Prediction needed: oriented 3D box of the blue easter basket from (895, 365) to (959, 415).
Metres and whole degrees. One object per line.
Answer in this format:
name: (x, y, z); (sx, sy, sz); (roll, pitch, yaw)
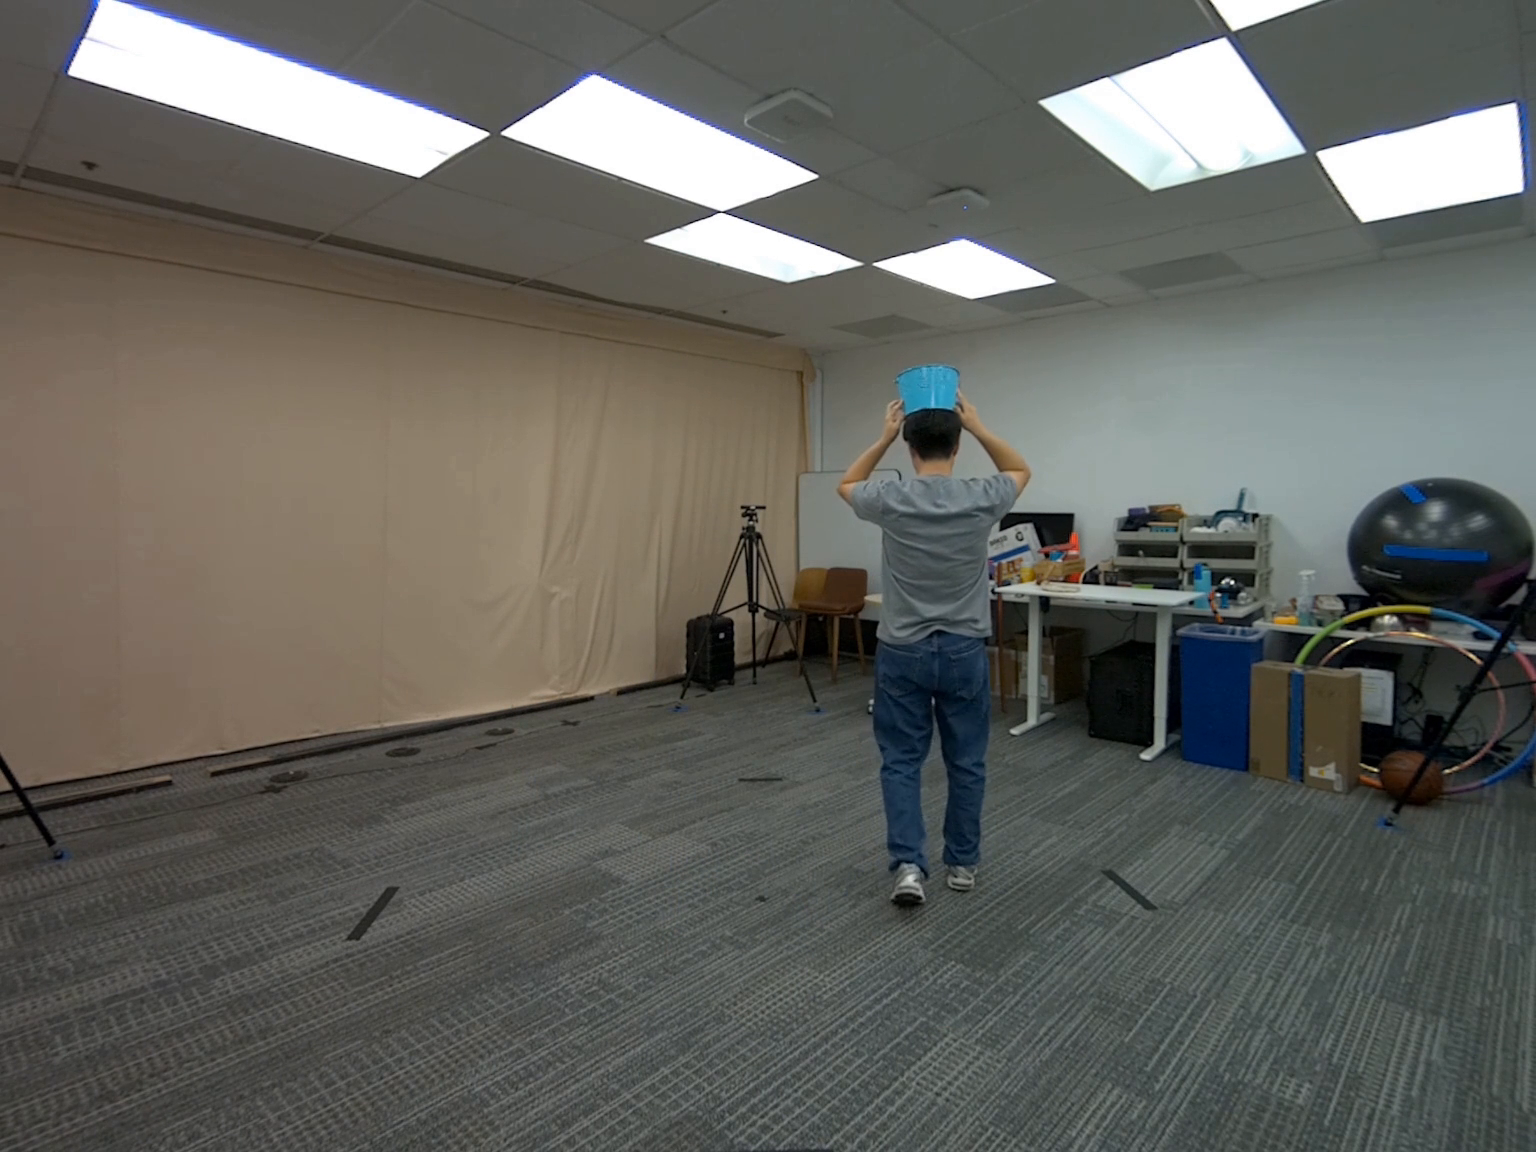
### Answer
blue easter basket: (0.589, -0.654, 3.072); (0.243, 0.157, 0.242); (0, -9, -2)
